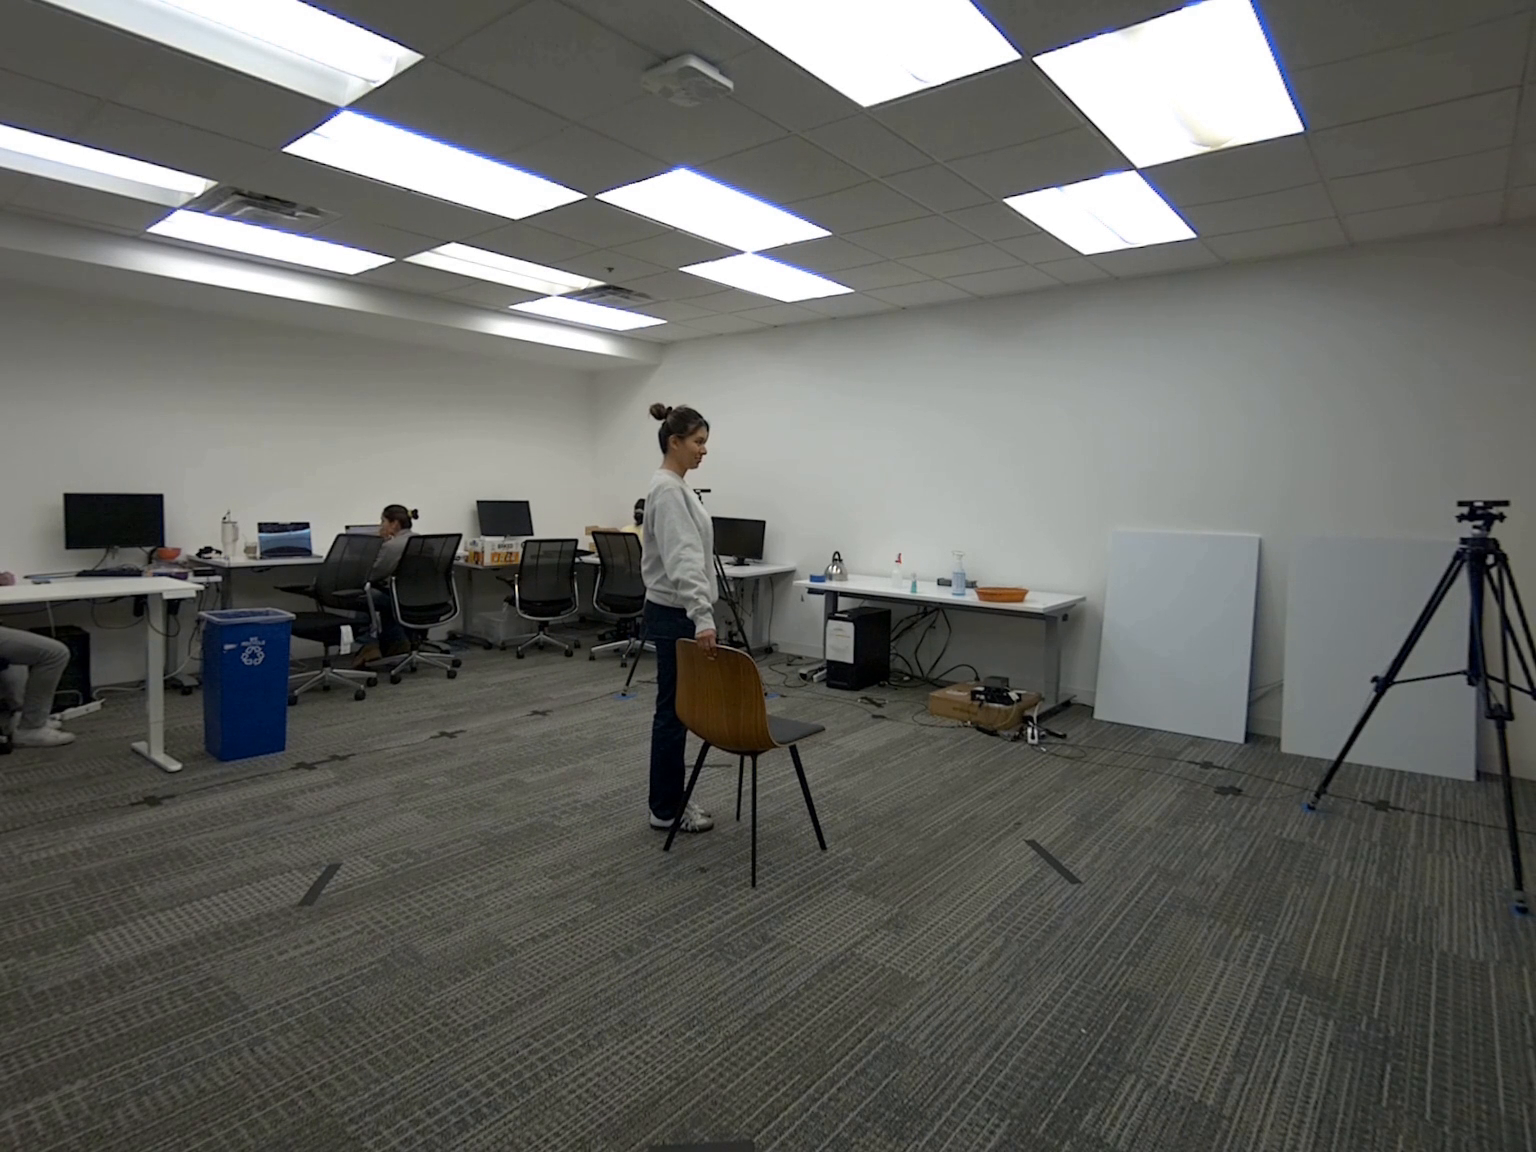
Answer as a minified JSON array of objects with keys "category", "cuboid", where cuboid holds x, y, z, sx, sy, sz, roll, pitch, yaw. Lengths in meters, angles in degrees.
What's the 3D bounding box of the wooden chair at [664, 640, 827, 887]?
[{"category":"wooden chair","cuboid":[-0.080,0.635,3.267,0.494,0.872,0.509,3,8,39]}]
